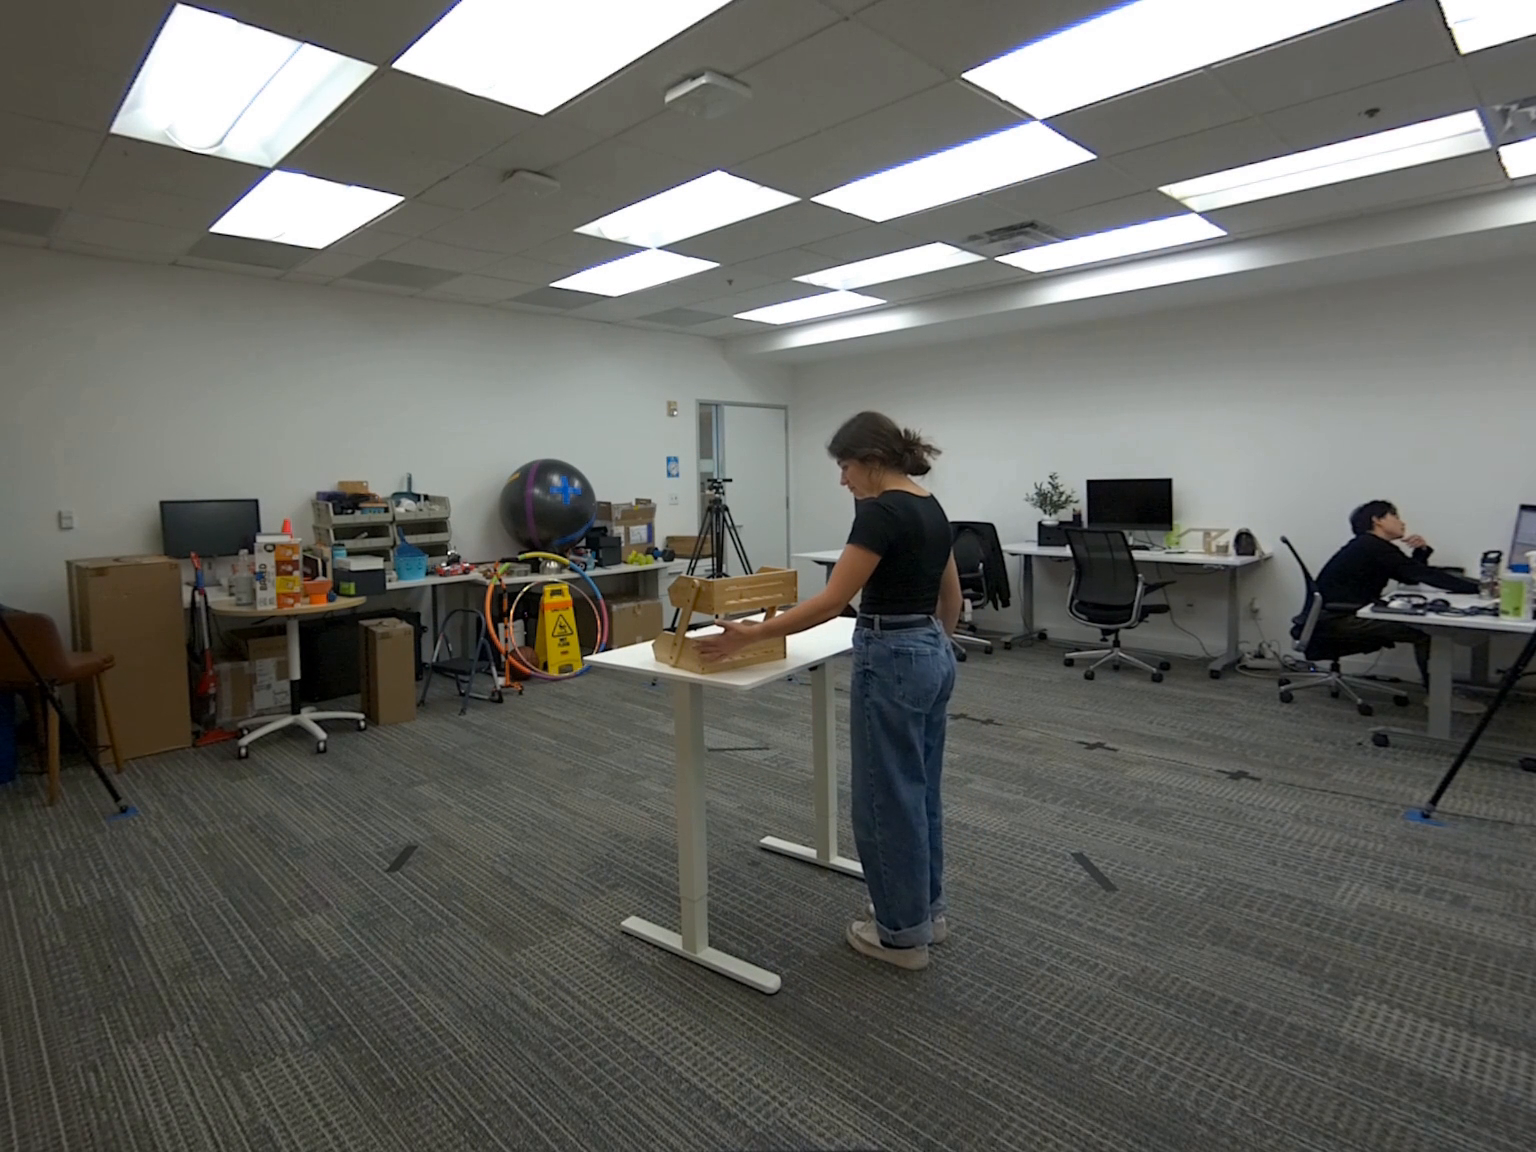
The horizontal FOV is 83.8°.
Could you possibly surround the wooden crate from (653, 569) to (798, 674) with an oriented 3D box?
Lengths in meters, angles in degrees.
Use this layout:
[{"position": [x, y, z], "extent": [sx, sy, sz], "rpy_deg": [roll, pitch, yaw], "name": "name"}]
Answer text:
[{"position": [-0.120, 0.110, 2.432], "extent": [0.316, 0.272, 0.311], "rpy_deg": [-6, 8, -38], "name": "wooden crate"}]
